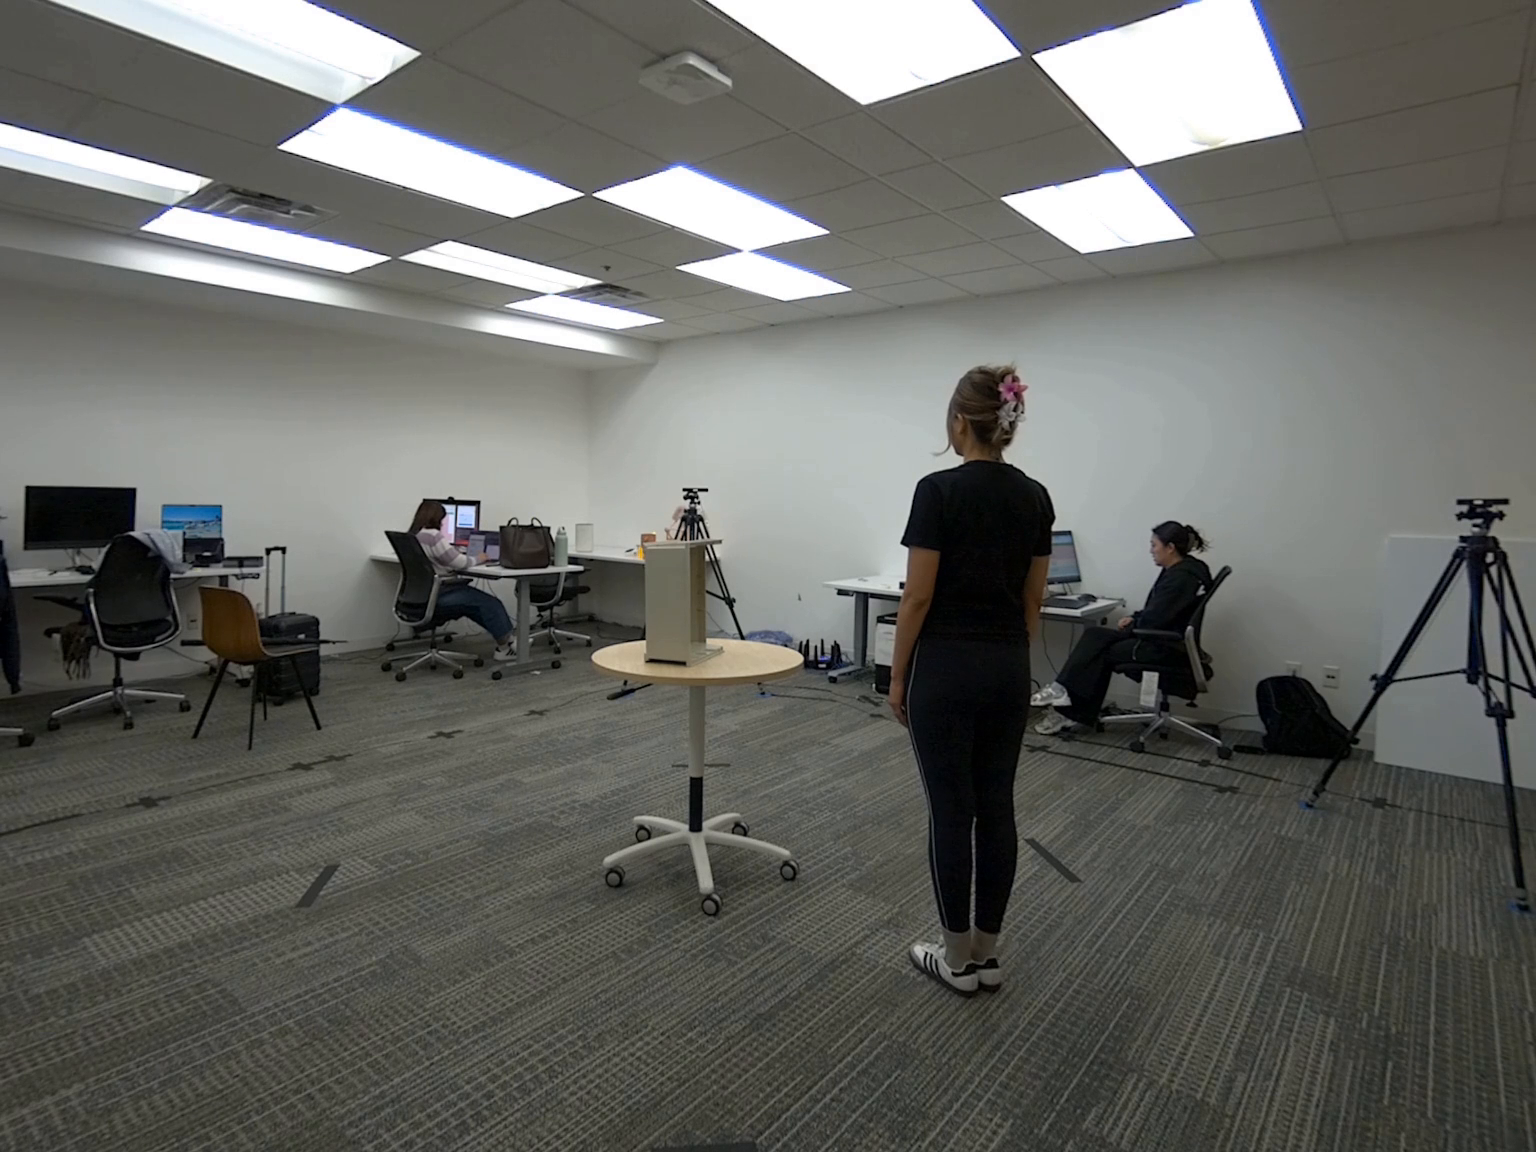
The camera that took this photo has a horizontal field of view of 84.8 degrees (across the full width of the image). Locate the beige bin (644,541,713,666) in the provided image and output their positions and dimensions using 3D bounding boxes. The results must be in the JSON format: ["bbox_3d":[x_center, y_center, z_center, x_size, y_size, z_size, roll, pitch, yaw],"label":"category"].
[{"bbox_3d":[-0.303,0.078,3.072,0.193,0.421,0.370,1,3,19],"label":"beige bin"}]
